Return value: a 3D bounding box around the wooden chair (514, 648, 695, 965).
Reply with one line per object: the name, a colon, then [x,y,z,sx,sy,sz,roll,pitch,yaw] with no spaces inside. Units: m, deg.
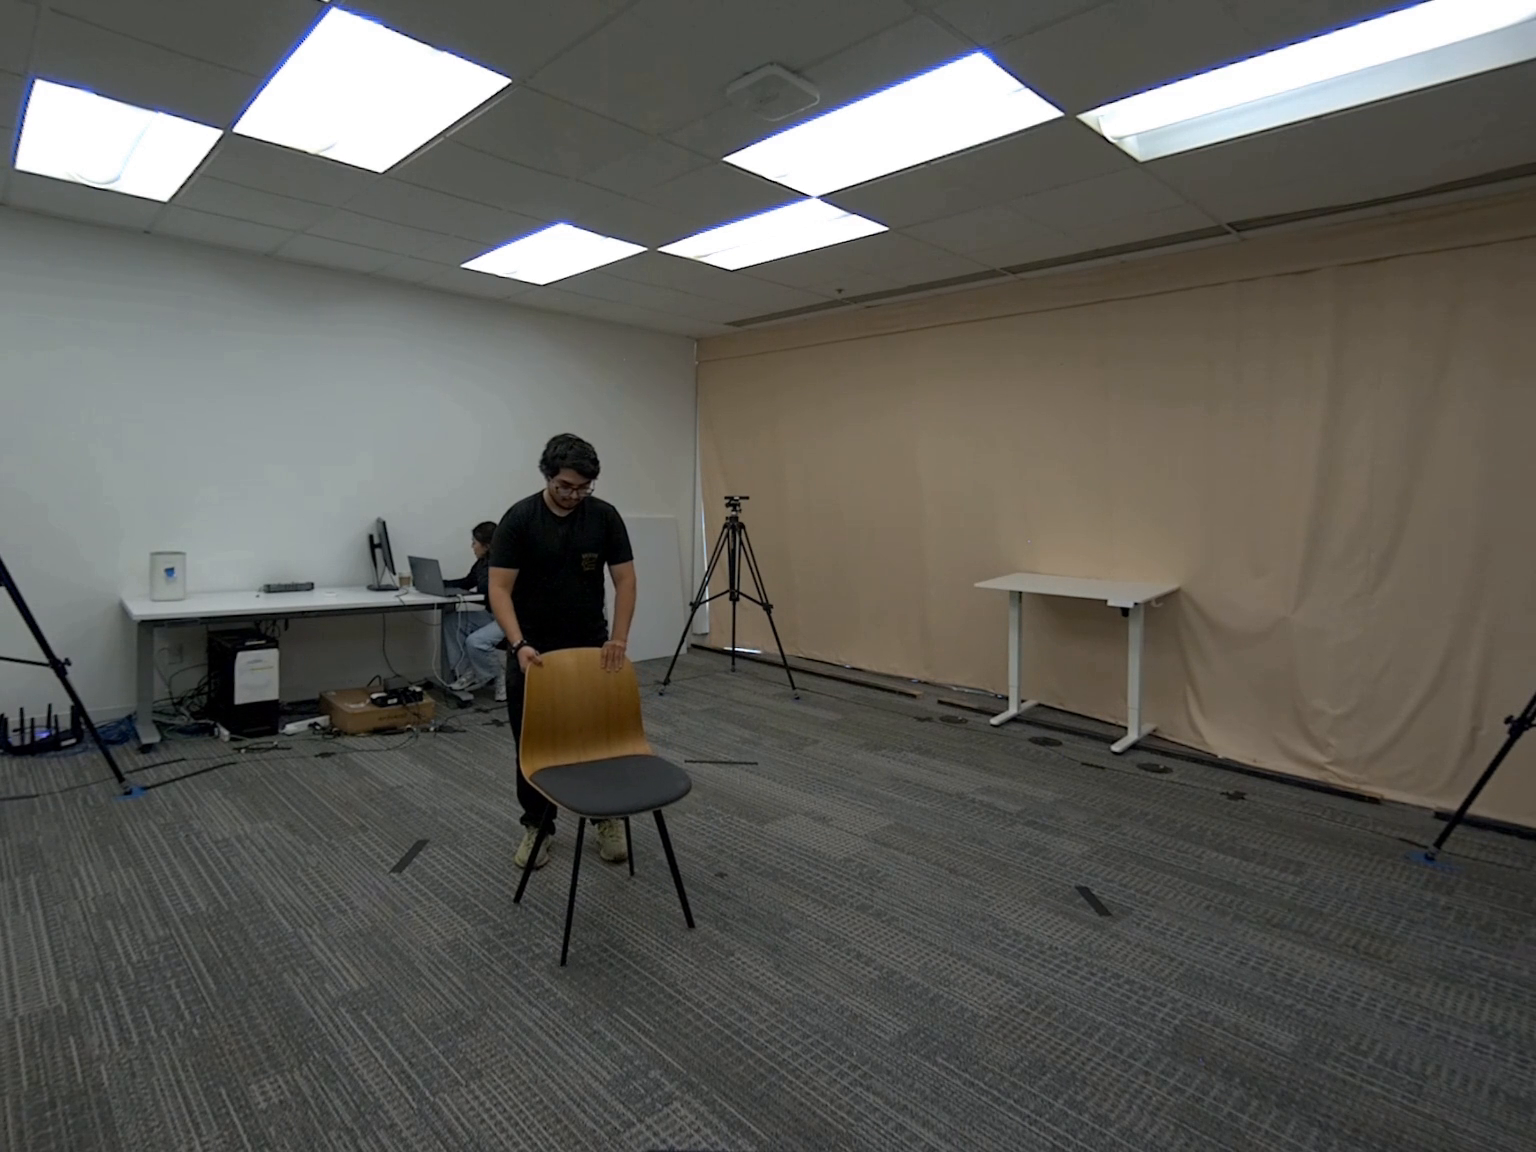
wooden chair: [-0.535,0.700,2.748,0.468,0.878,0.534,-1,0,-34]
